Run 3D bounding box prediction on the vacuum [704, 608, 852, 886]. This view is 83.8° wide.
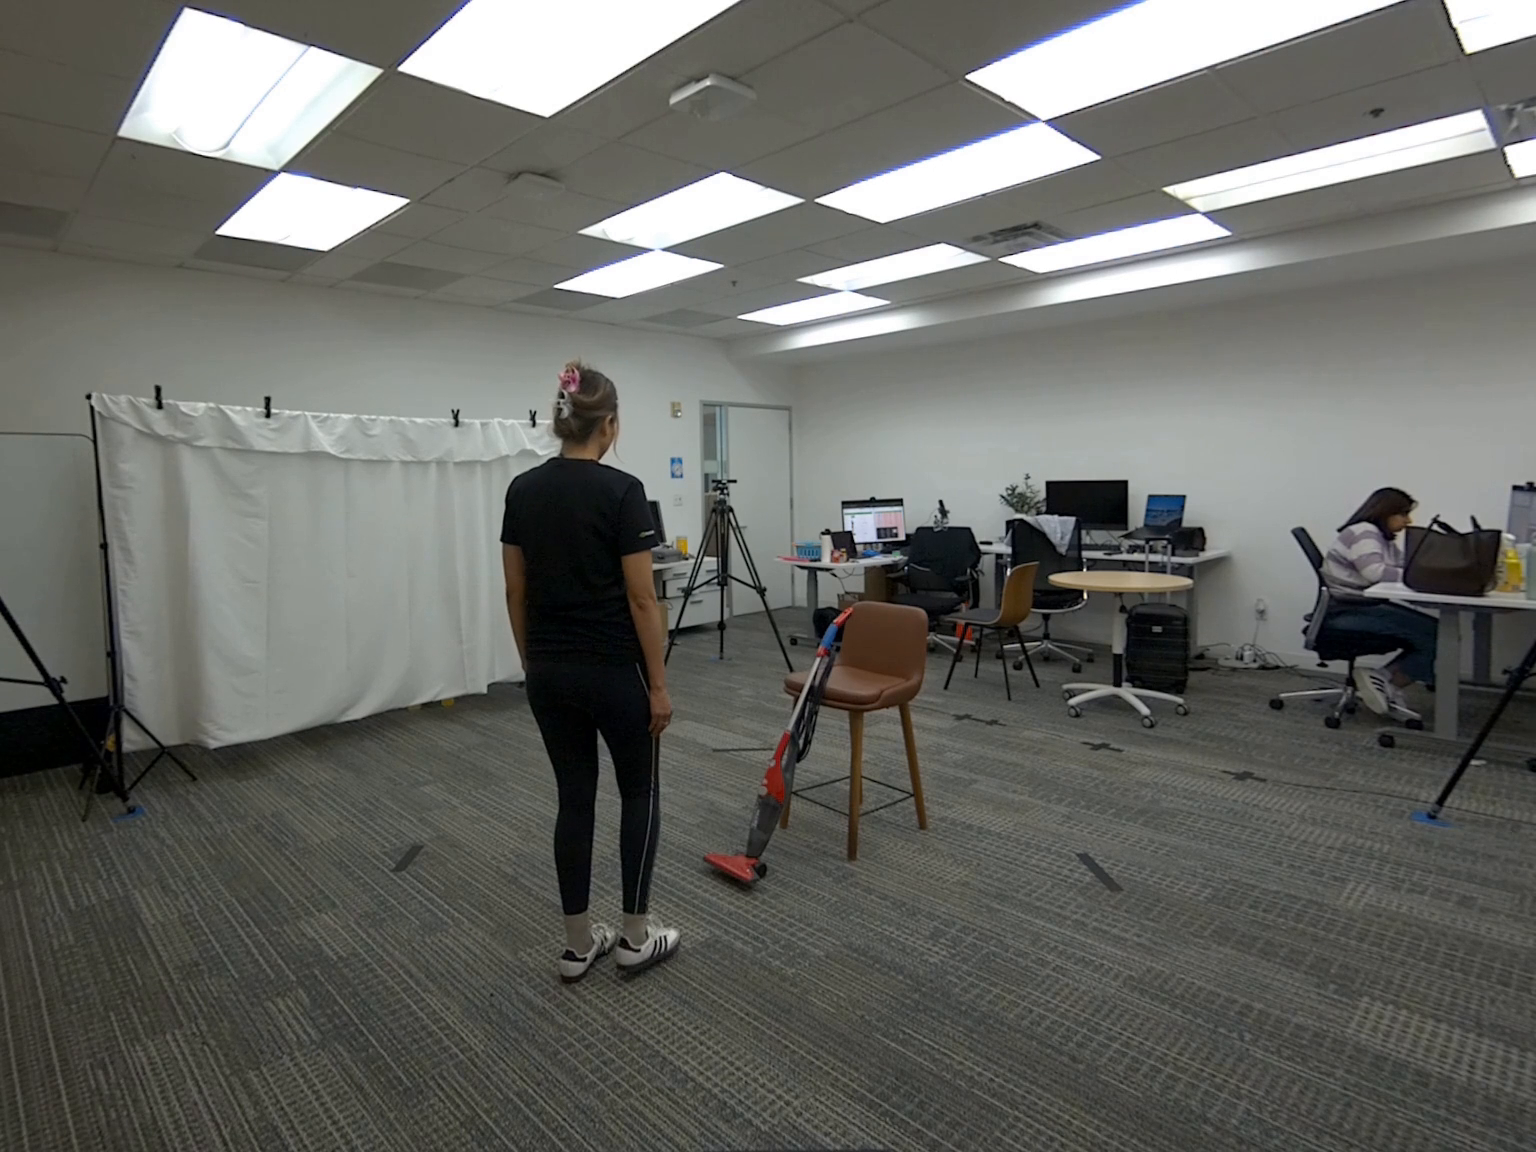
[{"bbox_3d":[0.104,0.594,3.170,0.260,1.057,0.138,5,-27,45],"label":"vacuum"}]
